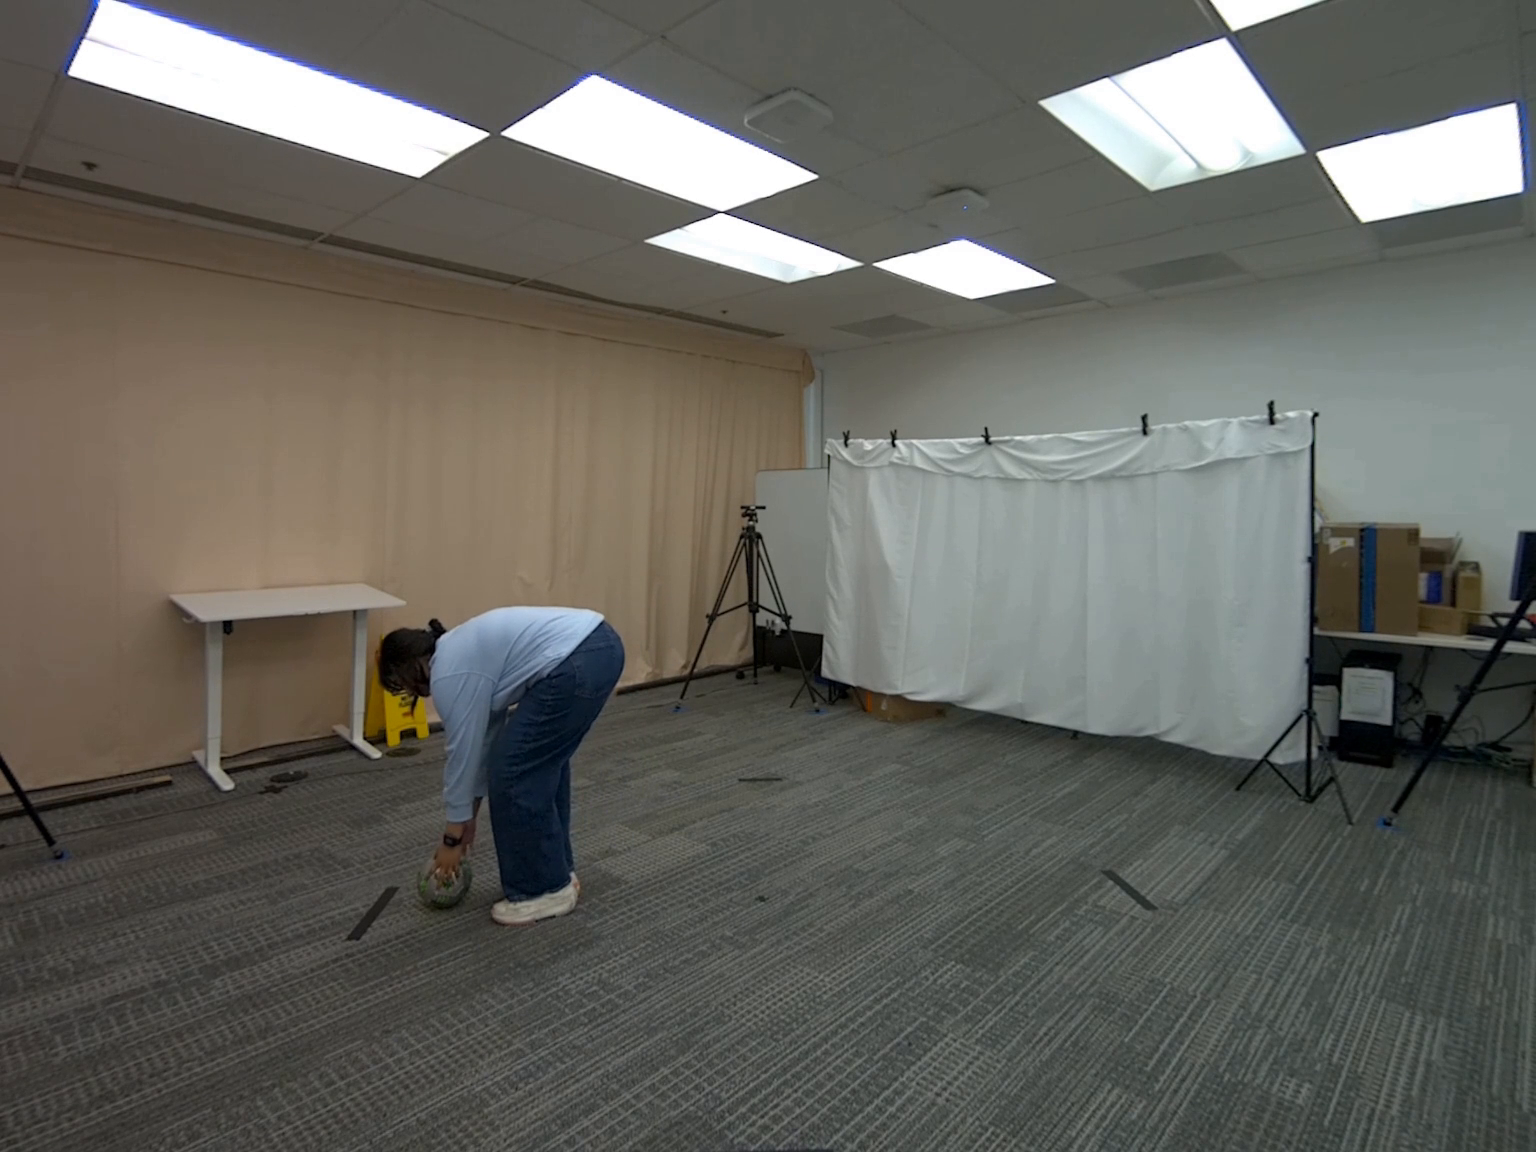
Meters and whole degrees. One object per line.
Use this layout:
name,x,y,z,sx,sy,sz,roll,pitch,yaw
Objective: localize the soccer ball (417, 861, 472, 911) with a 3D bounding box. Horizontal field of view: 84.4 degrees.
soccer ball,-1.137,1.070,2.958,0.187,0.187,0.188,0,4,-2
